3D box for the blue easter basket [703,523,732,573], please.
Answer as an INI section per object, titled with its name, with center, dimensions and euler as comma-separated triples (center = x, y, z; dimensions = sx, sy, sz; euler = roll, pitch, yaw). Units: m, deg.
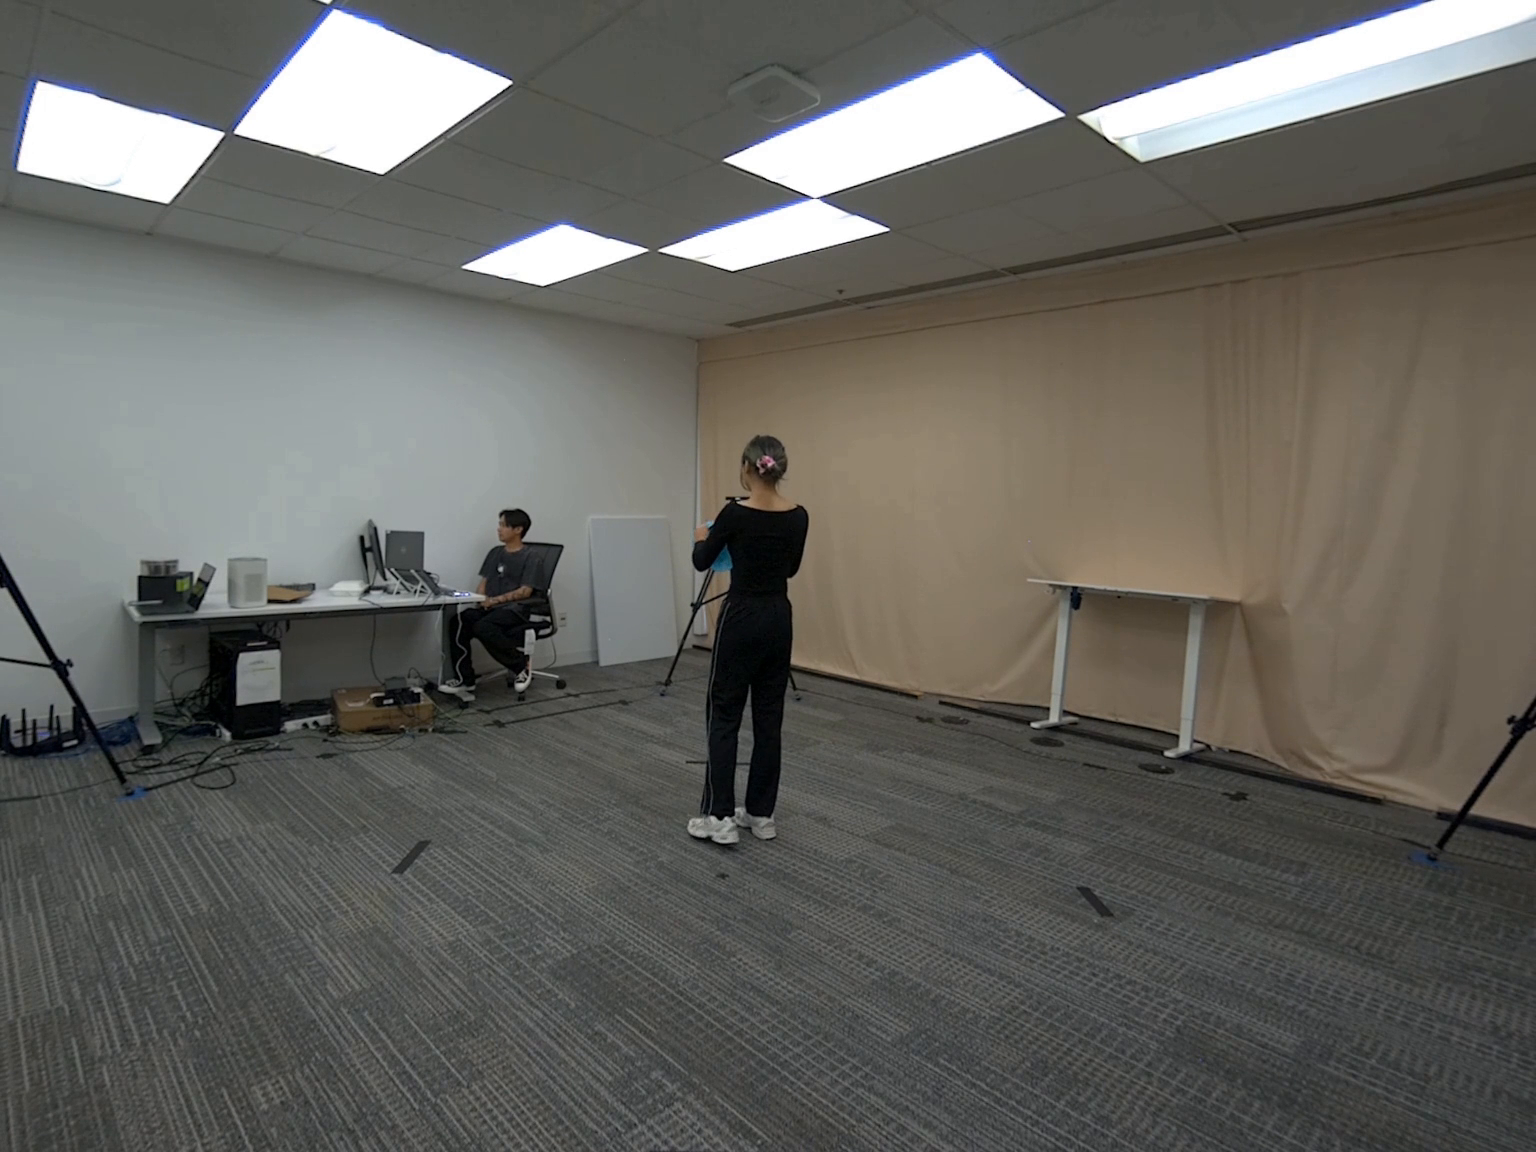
[blue easter basket]
center = -0.234, -0.150, 3.908
dimensions = 0.239, 0.242, 0.159
euler = 0, 10, -24
